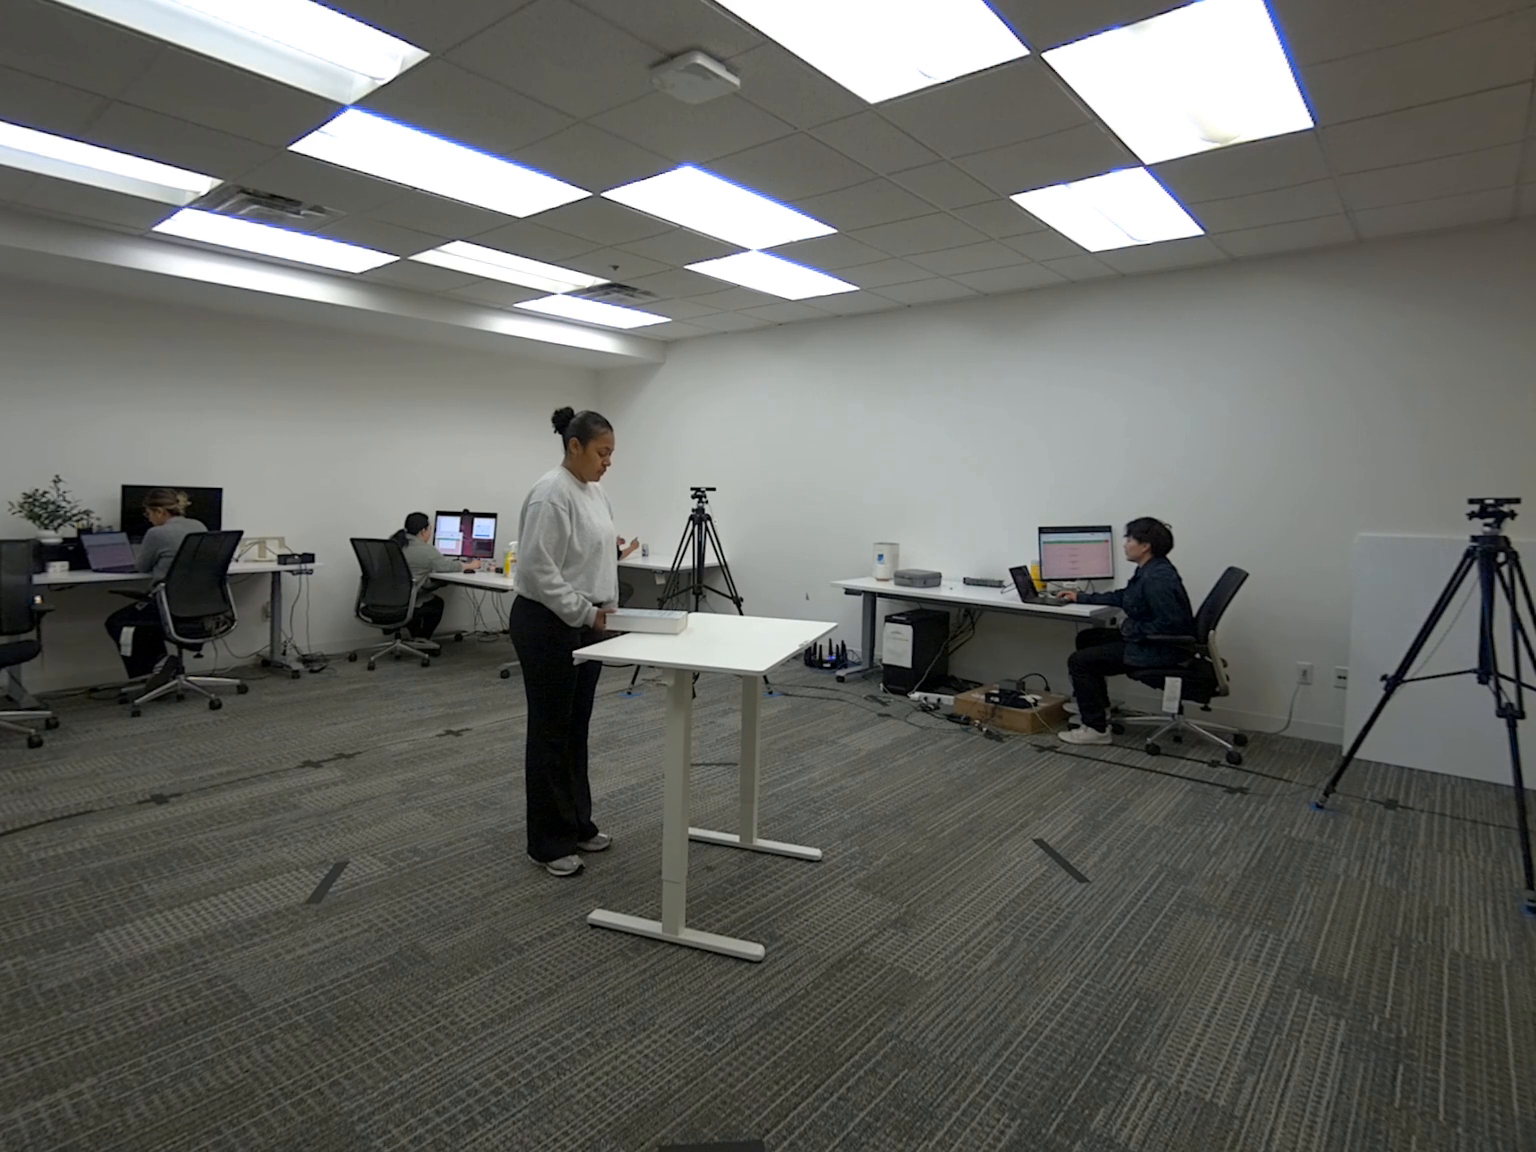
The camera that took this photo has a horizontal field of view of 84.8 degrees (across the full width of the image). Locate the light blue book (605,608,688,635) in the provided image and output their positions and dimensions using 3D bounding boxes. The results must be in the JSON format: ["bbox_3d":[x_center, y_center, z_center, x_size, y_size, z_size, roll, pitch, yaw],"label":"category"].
[{"bbox_3d":[-0.438,0.158,3.021,0.263,0.059,0.190,3,4,6],"label":"light blue book"}]
